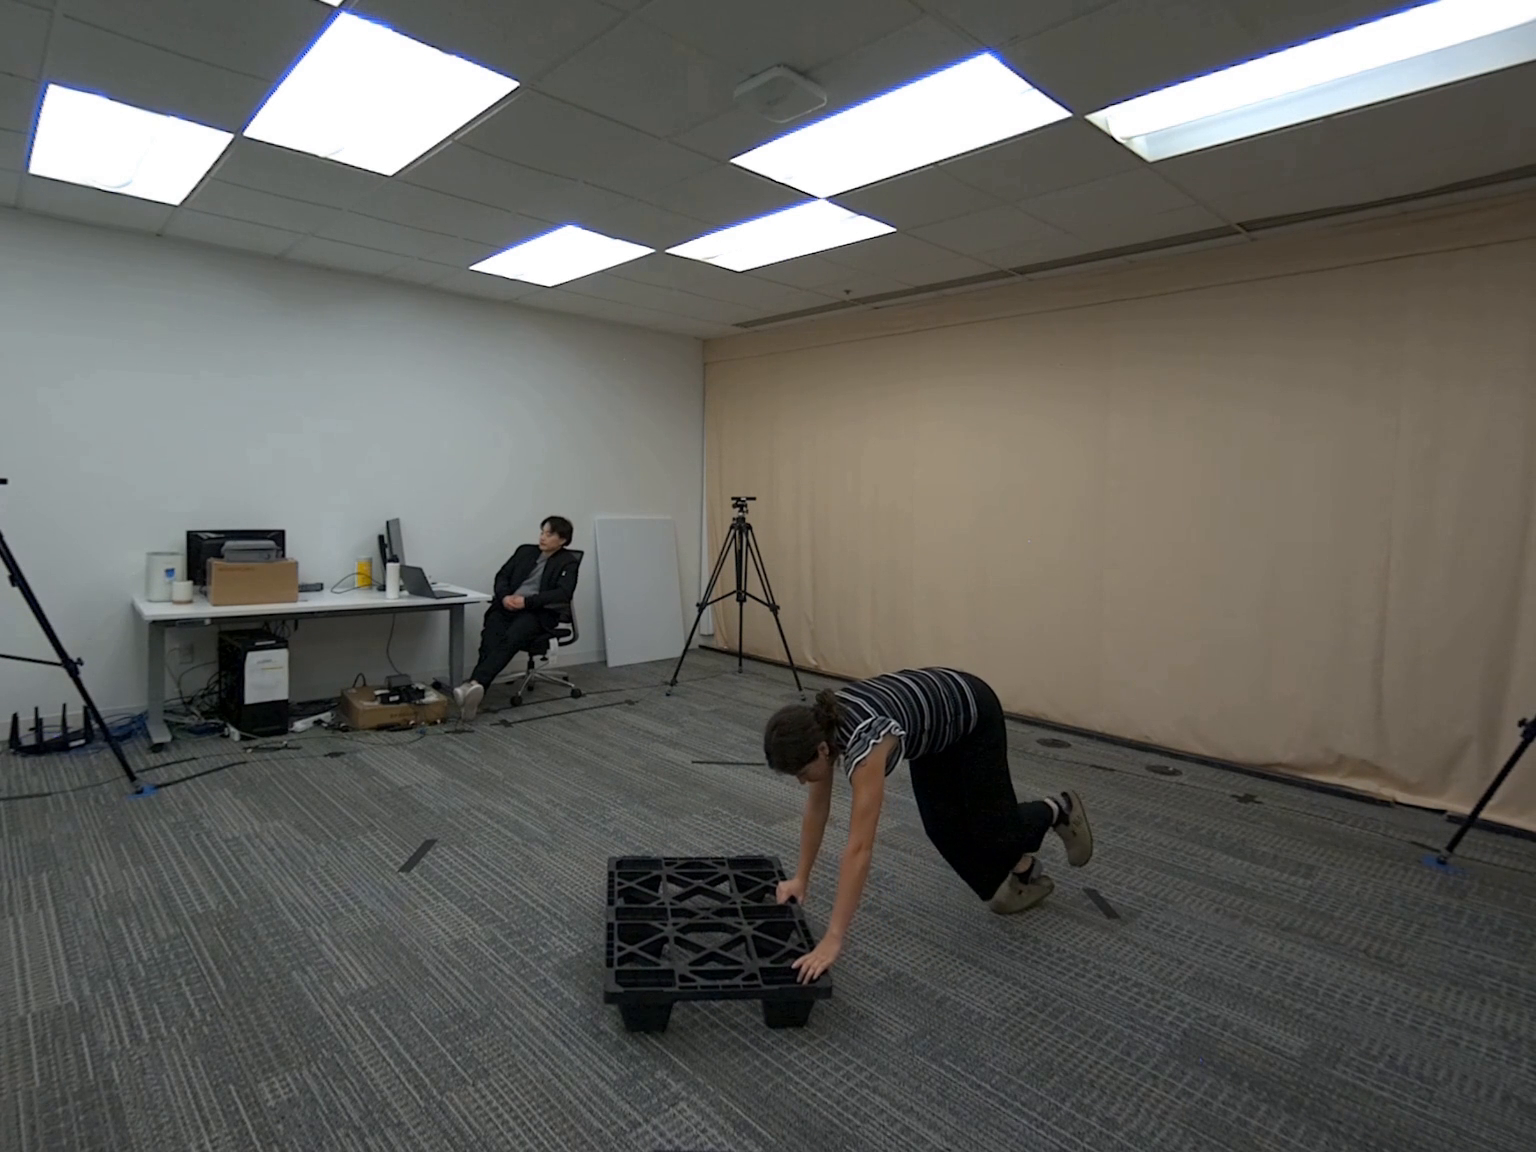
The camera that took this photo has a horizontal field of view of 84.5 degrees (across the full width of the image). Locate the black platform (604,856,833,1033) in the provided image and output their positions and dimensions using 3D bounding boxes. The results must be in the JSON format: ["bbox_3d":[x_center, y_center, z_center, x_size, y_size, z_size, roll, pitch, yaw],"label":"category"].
[{"bbox_3d":[-0.199,1.083,2.547,0.601,0.143,0.814,1,5,-10],"label":"black platform"}]
